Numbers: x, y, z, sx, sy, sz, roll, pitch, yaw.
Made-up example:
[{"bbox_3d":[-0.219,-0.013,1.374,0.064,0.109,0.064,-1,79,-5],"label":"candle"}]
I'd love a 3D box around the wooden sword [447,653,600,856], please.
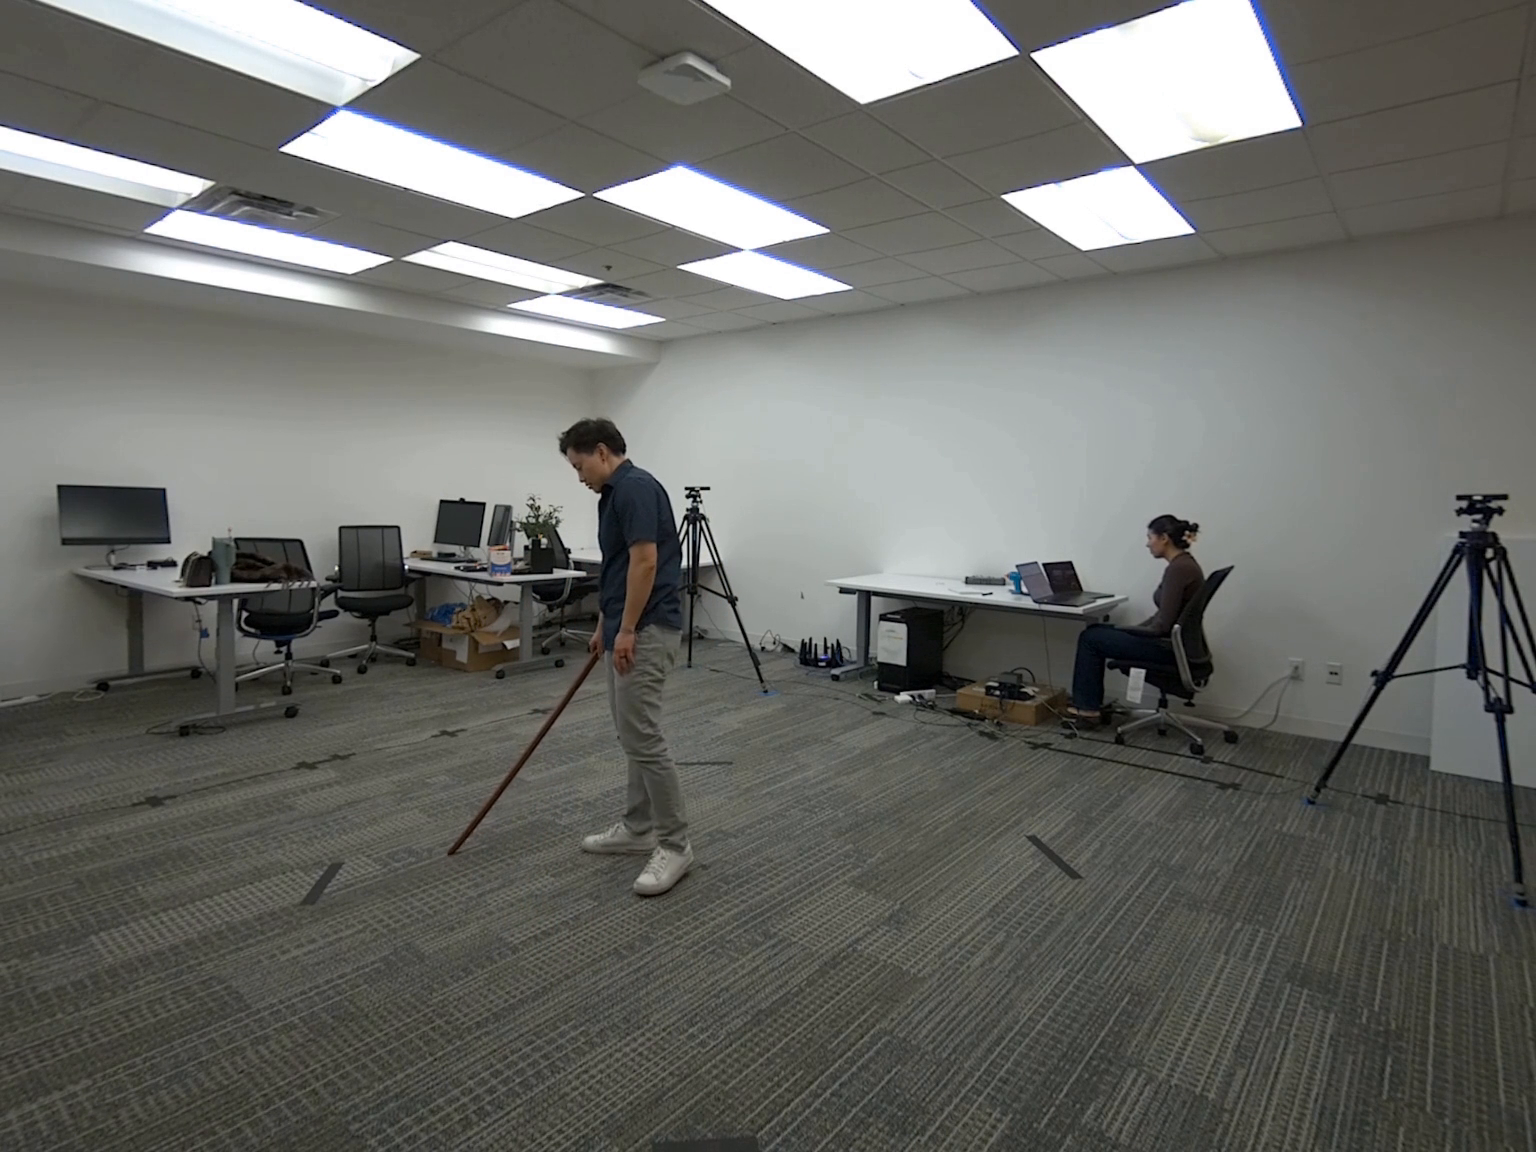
[{"bbox_3d":[-0.930,0.655,3.377,0.053,1.028,0.023,13,-29,44],"label":"wooden sword"}]
